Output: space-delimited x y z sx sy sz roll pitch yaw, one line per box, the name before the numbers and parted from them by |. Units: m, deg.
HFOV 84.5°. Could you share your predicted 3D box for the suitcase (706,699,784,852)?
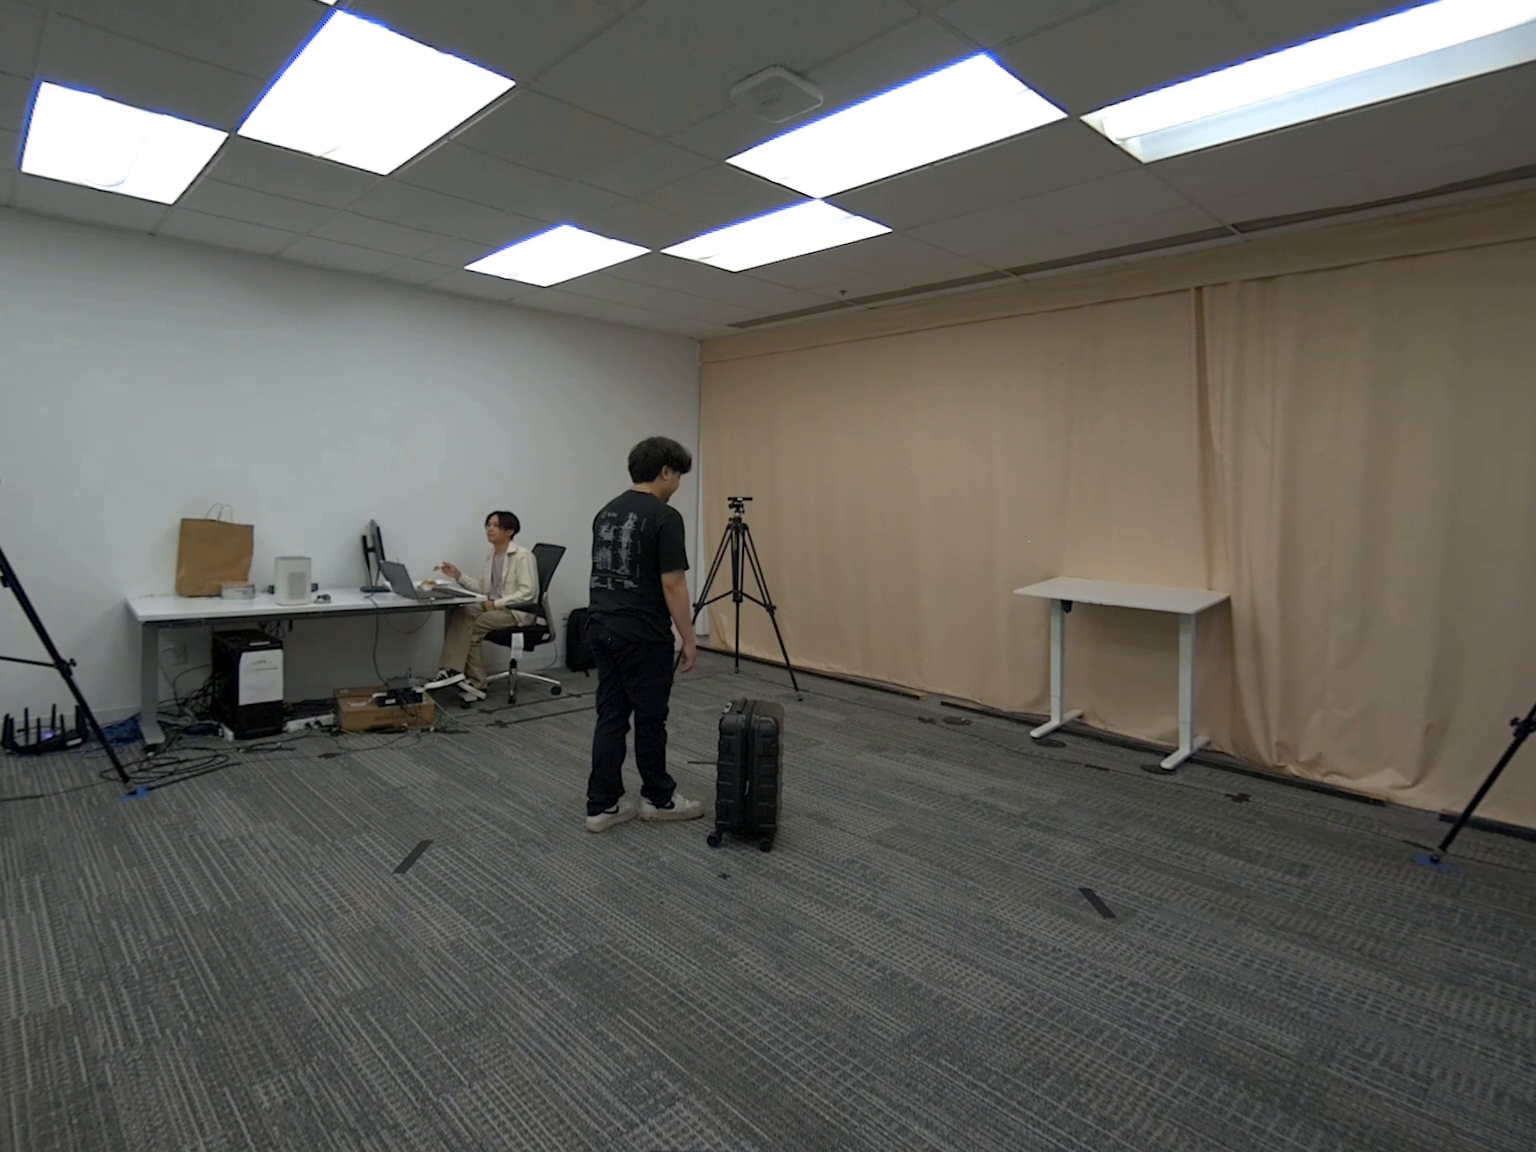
suitcase | -0.087 0.797 3.492 0.249 0.548 0.374 3 3 4
